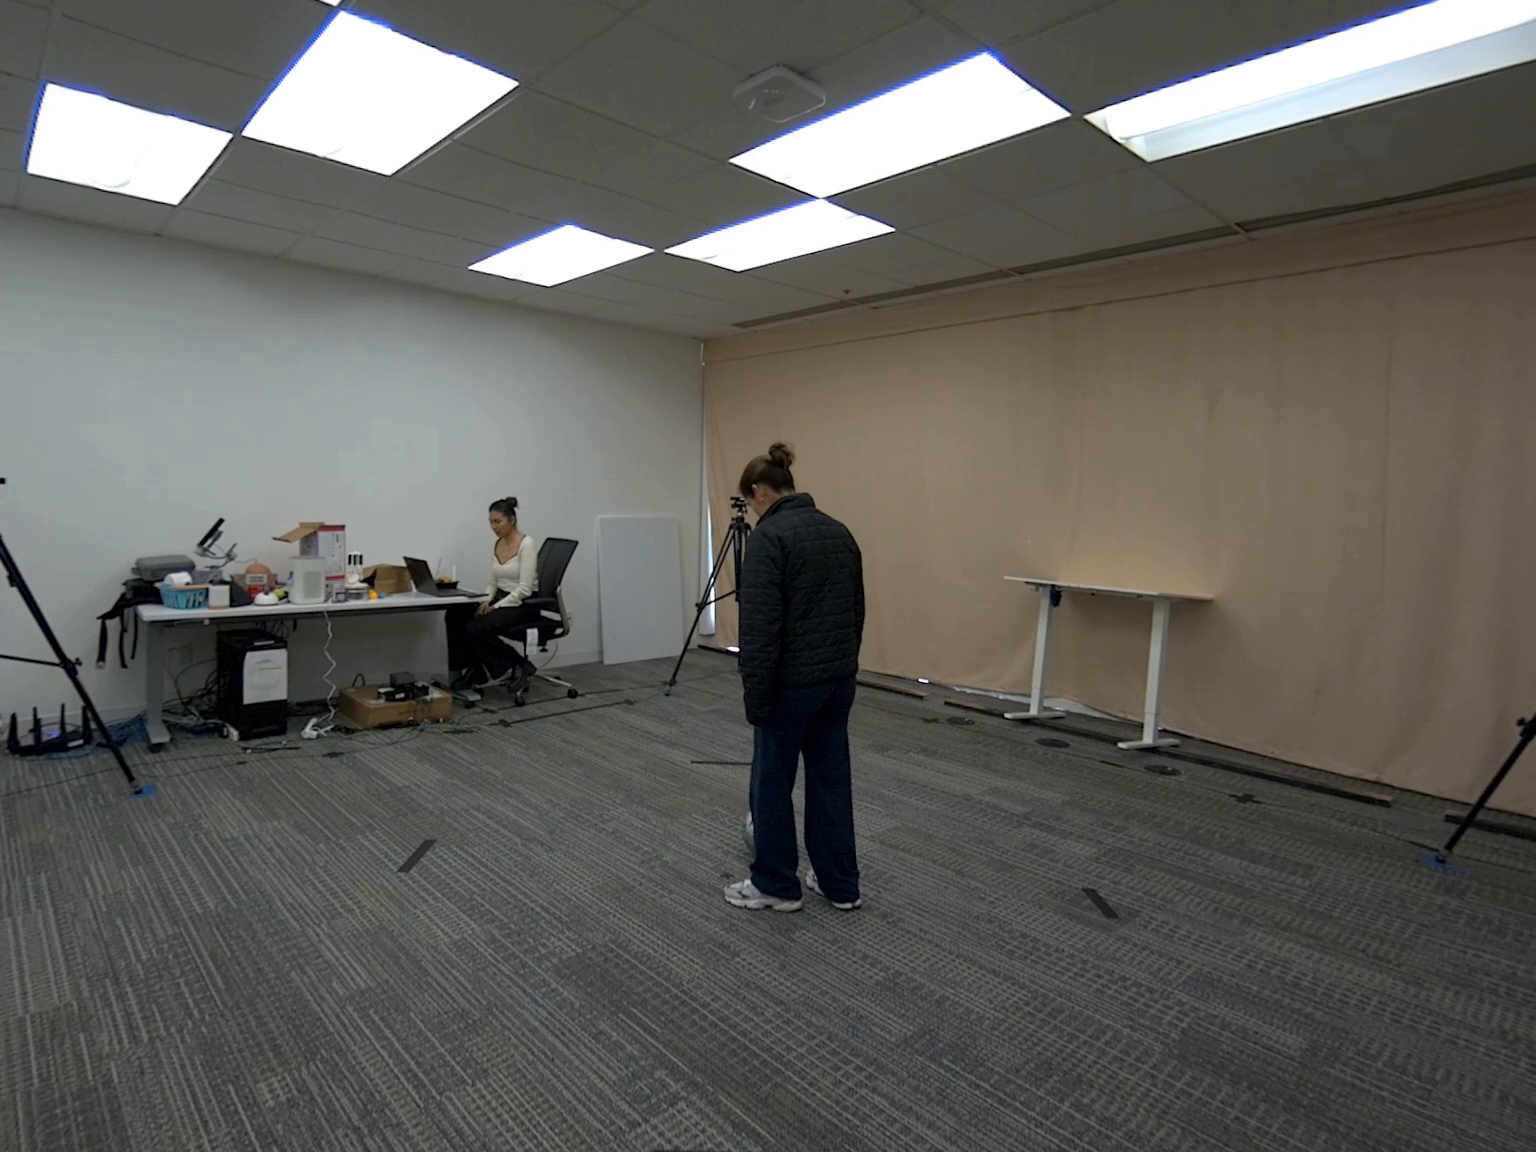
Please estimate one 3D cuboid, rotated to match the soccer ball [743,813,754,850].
[{"bbox_3d":[-0.014,0.999,3.303,0.187,0.187,0.188,1,4,-1],"label":"soccer ball"}]
